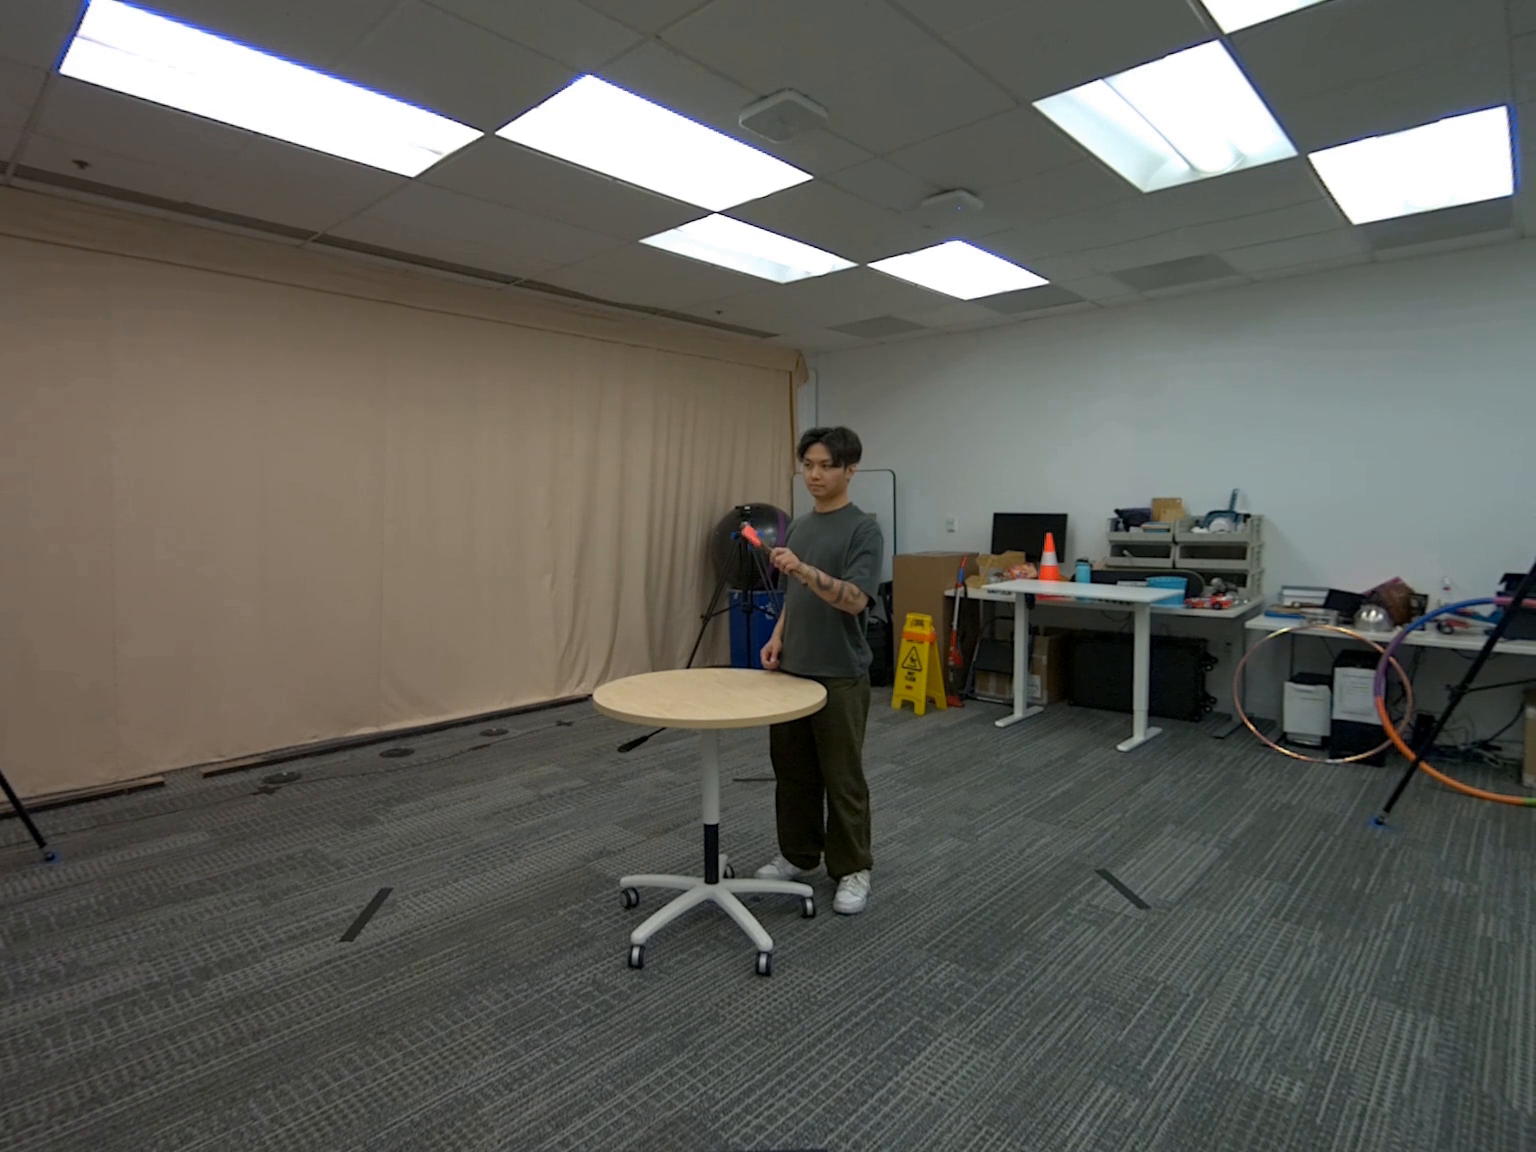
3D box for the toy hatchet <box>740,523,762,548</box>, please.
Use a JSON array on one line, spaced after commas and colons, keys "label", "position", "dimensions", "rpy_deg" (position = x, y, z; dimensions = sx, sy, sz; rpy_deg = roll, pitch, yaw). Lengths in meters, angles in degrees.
[{"label": "toy hatchet", "position": [0.019, -0.068, 2.609], "dimensions": [0.276, 0.029, 0.128], "rpy_deg": [46, 9, 17]}]
